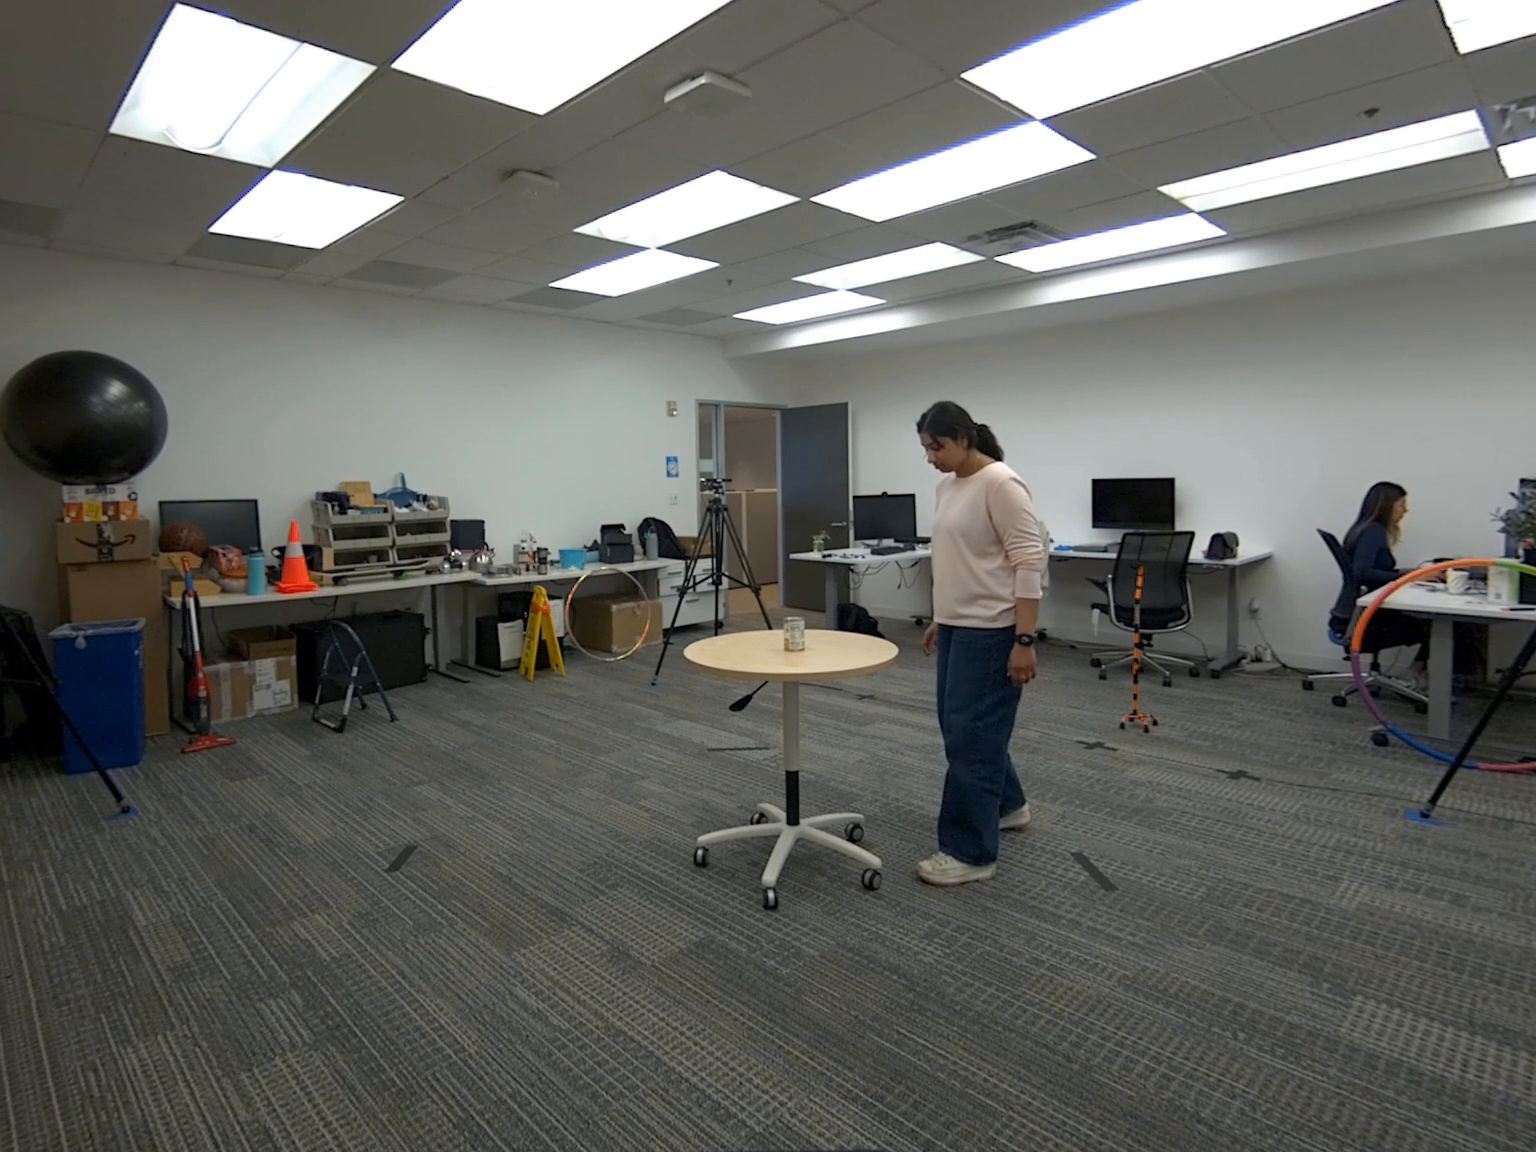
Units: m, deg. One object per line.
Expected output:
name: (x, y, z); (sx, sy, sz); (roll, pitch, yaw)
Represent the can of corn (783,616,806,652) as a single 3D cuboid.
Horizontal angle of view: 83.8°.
can of corn: (0.099, 0.209, 3.048); (0.074, 0.111, 0.074); (-1, 2, -2)
